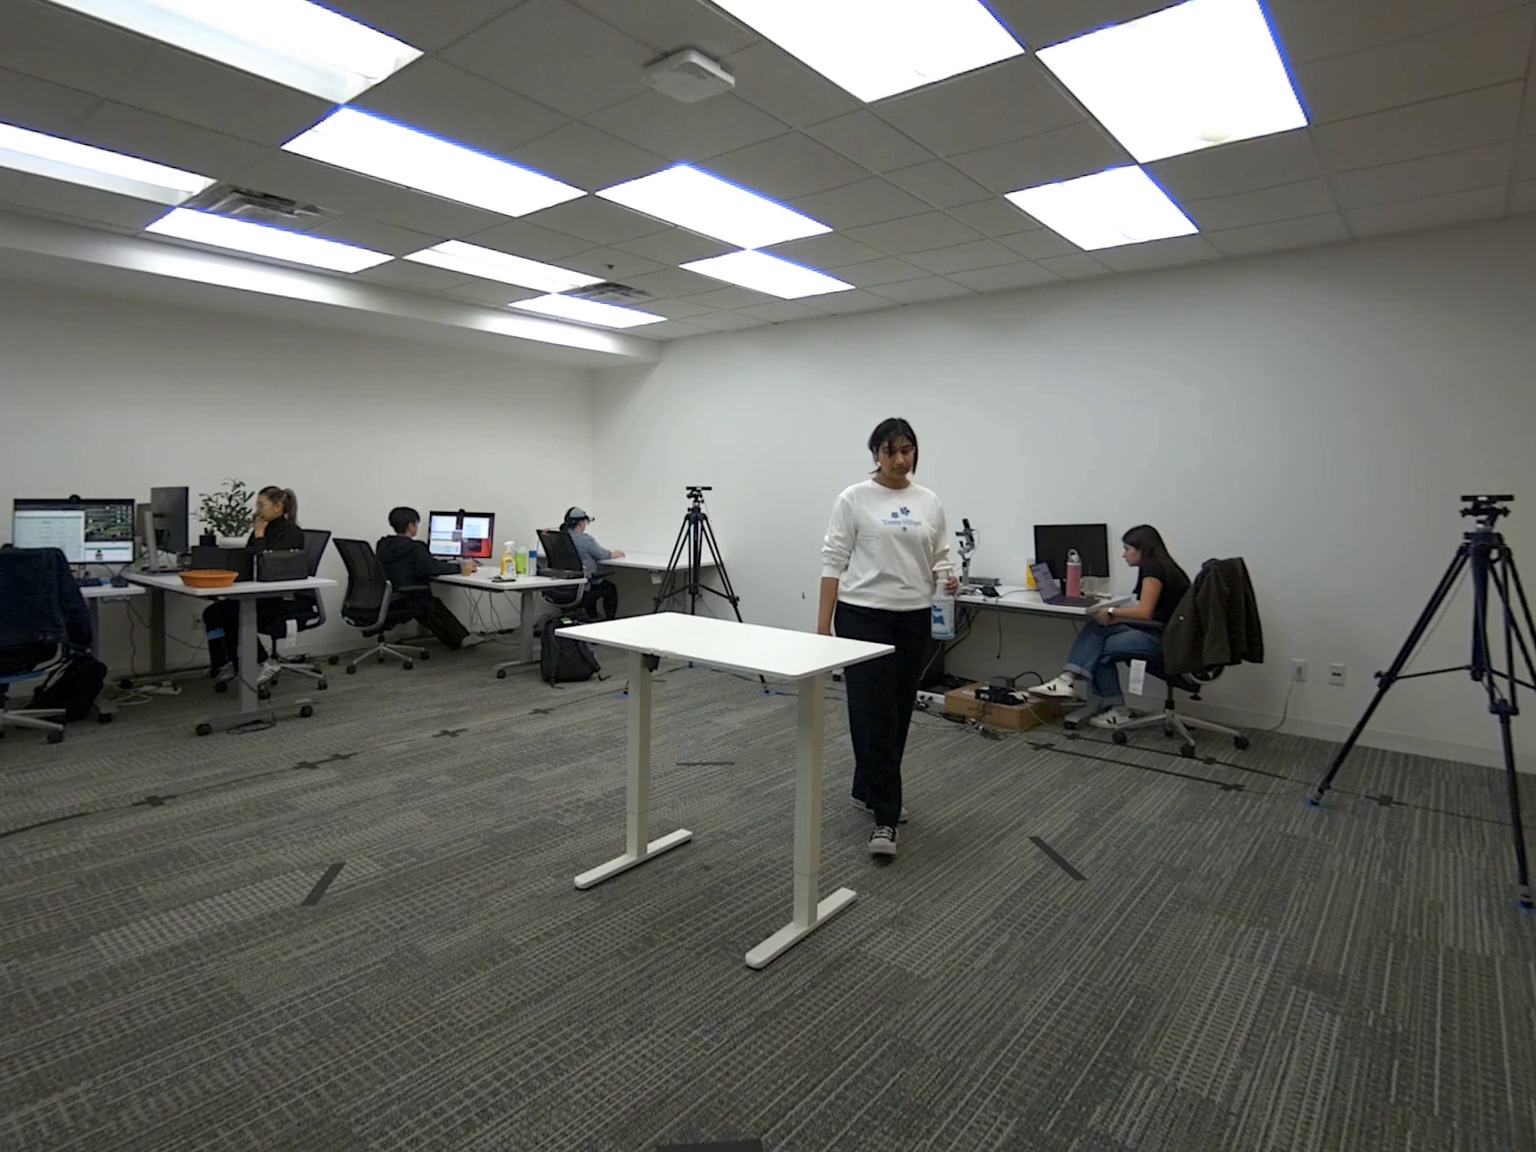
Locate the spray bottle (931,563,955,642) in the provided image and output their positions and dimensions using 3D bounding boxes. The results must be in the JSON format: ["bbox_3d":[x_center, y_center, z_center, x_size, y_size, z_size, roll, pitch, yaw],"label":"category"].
[{"bbox_3d":[0.692,0.094,3.315,0.092,0.297,0.085,1,2,16],"label":"spray bottle"}]
